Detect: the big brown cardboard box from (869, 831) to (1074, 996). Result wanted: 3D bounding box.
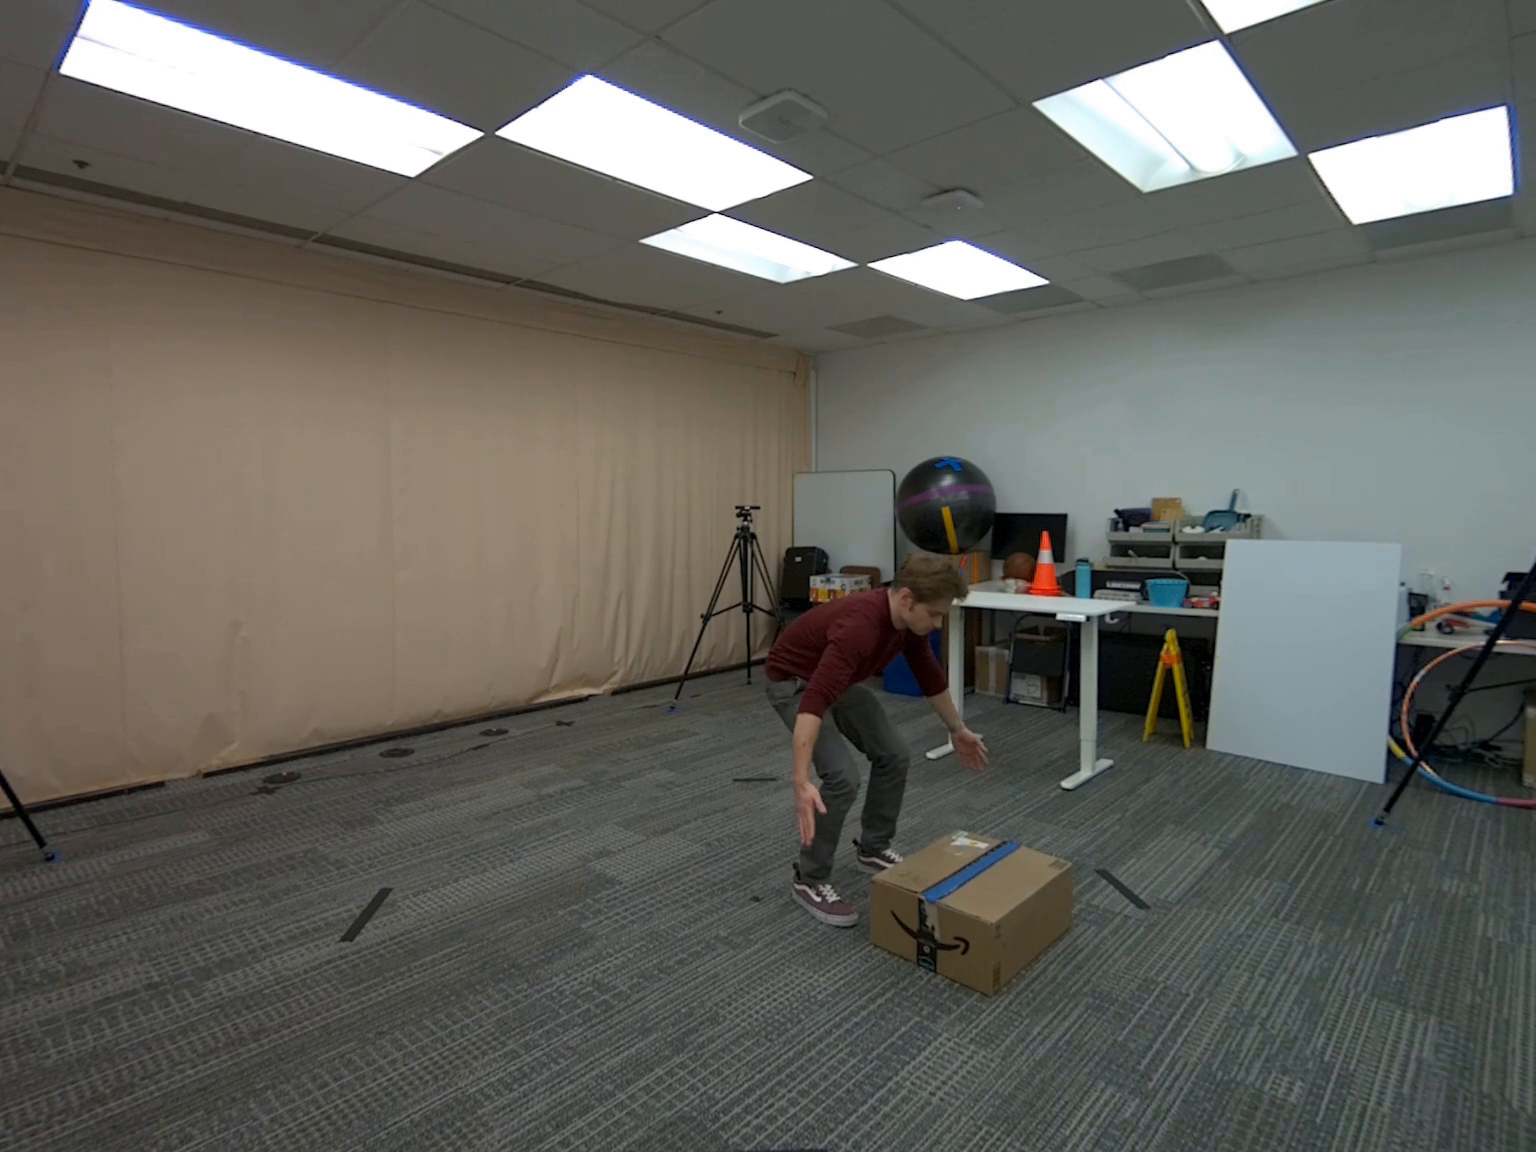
[{"bbox_3d":[0.670,1.054,2.719,0.431,0.232,0.571,4,7,42],"label":"big brown cardboard box"}]
